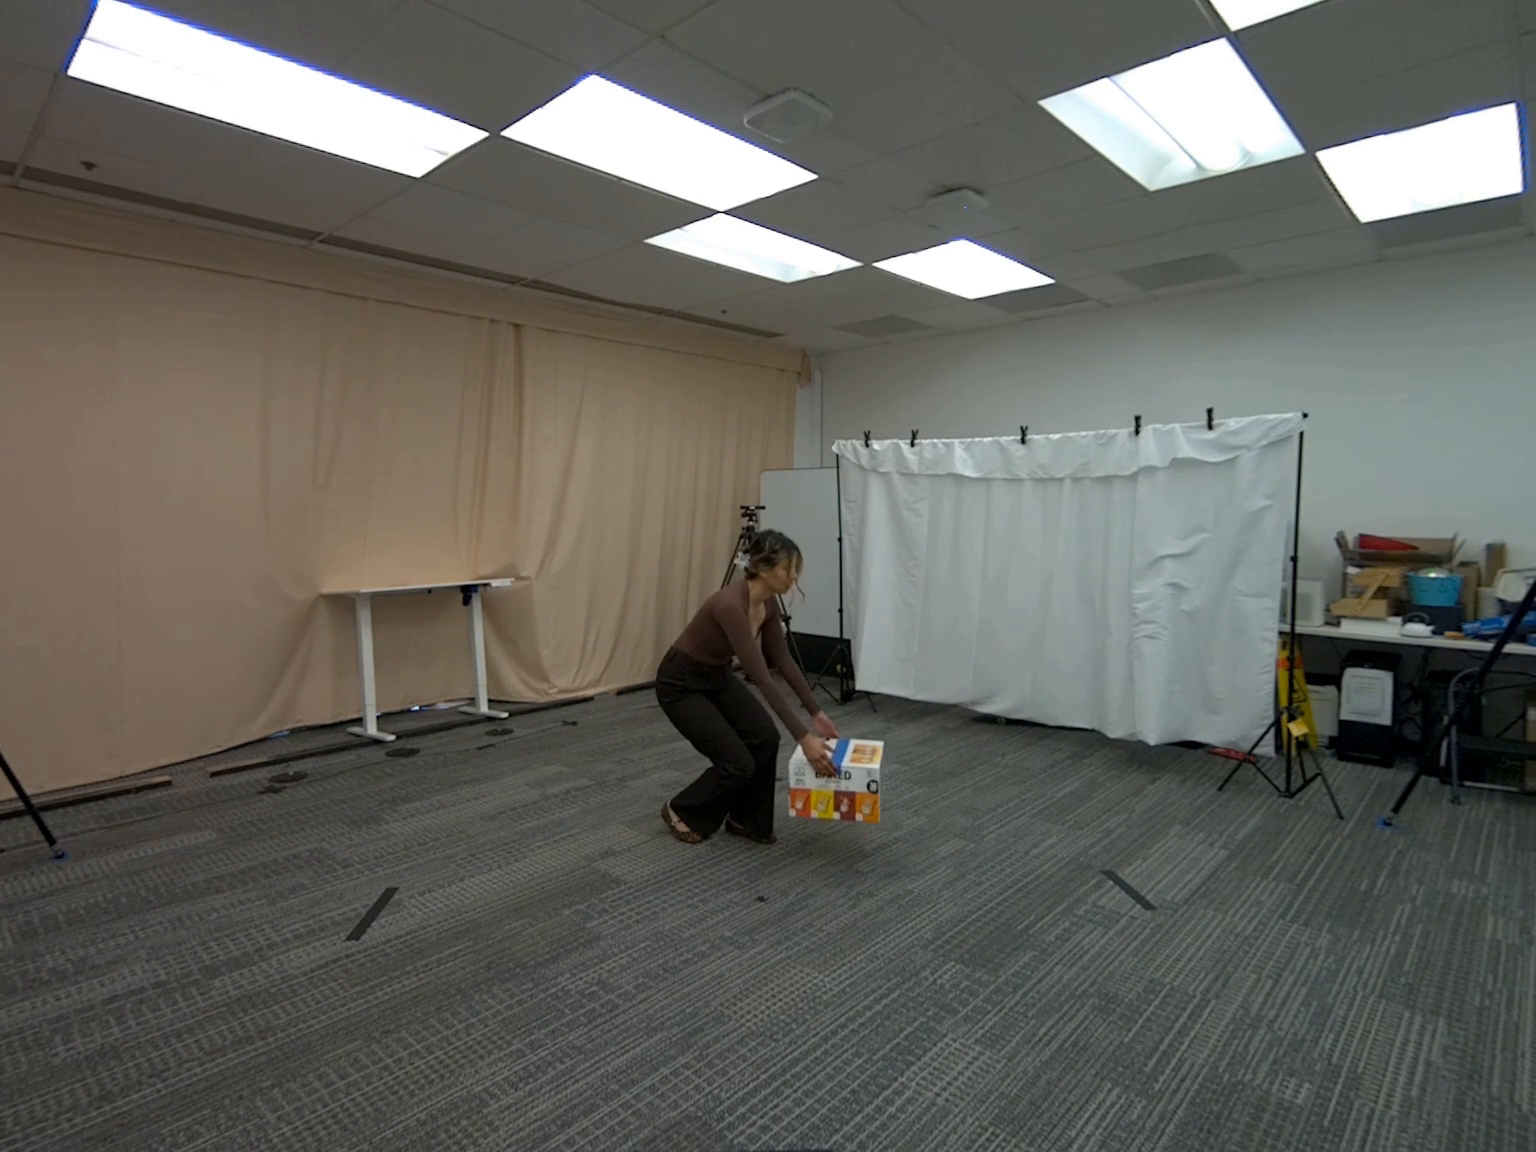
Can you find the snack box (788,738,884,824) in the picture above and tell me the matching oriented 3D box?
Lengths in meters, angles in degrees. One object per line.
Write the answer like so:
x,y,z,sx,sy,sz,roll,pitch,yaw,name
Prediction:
0.285,0.791,3.344,0.345,0.205,0.400,0,4,12,snack box
